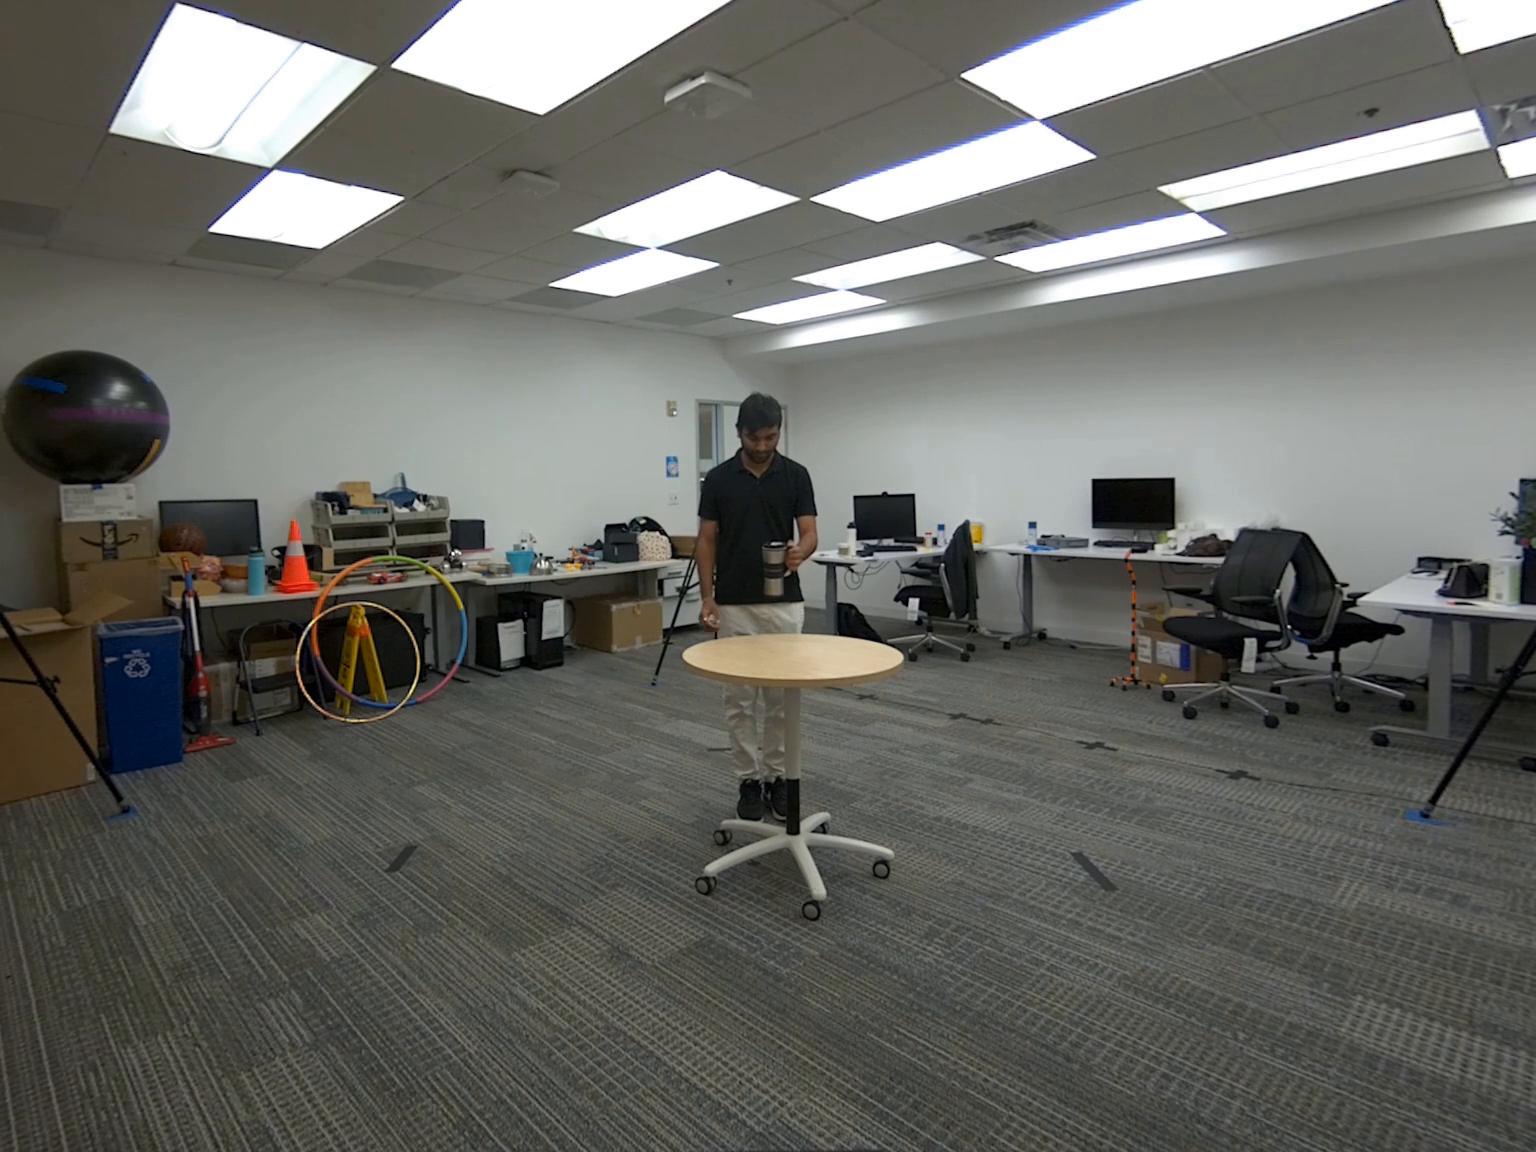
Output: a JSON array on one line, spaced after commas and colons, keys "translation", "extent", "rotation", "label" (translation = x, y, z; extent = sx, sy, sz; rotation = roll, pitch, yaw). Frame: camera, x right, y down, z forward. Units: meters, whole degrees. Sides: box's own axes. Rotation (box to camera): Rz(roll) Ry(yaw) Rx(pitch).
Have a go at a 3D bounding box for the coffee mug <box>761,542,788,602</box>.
[{"translation": [0.044, -0.018, 3.176], "extent": [0.121, 0.201, 0.089], "rotation": [-5, 8, -10], "label": "coffee mug"}]
